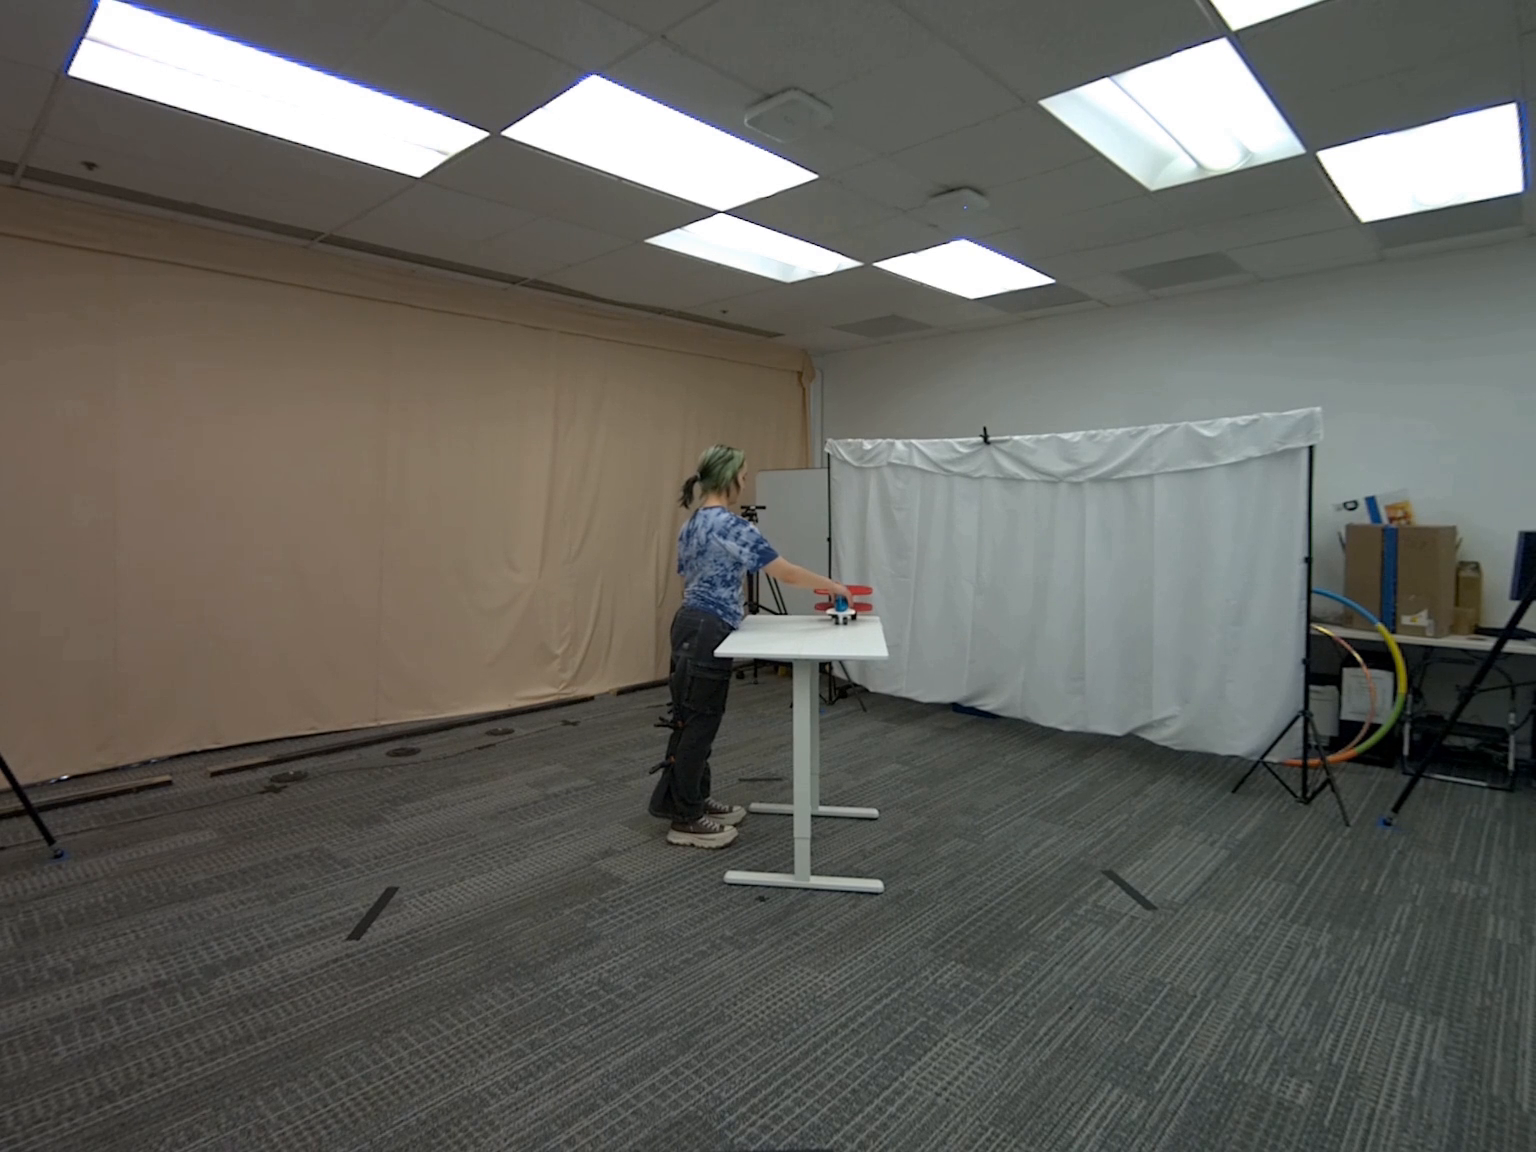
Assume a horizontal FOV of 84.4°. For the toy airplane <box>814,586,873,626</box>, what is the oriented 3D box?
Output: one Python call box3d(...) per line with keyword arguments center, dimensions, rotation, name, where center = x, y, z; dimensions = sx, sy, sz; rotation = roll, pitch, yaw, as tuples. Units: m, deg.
box3d(center=(0.349, 0.124, 3.672), dimensions=(0.247, 0.156, 0.264), rotation=(-1, 2, -18), name="toy airplane")
